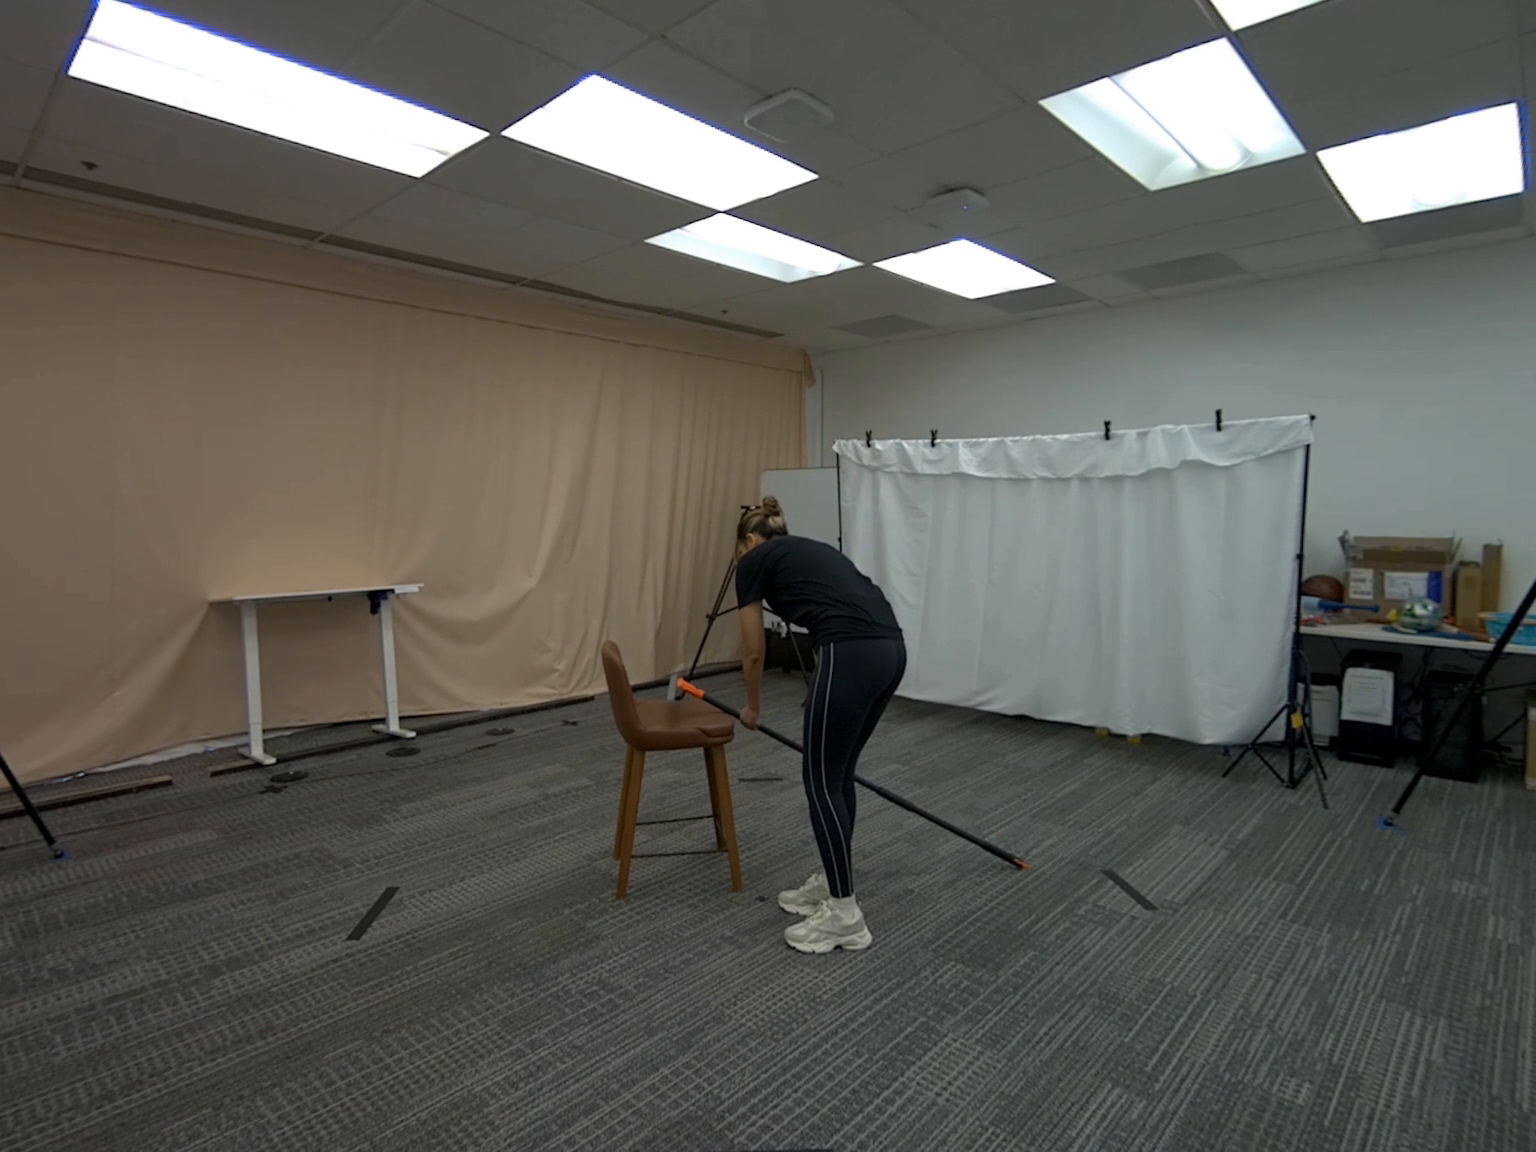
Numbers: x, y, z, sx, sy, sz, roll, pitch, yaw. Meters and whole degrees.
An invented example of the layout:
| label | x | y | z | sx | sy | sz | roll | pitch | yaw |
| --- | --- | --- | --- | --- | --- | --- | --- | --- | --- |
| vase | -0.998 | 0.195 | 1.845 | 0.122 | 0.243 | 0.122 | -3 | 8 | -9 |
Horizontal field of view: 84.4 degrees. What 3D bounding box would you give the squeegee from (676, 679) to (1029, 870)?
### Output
| label | x | y | z | sx | sy | sz | roll | pitch | yaw |
| --- | --- | --- | --- | --- | --- | --- | --- | --- | --- |
| squeegee | 0.318 | 0.761 | 3.201 | 1.529 | 0.437 | 0.053 | 28 | -8 | -4 |
